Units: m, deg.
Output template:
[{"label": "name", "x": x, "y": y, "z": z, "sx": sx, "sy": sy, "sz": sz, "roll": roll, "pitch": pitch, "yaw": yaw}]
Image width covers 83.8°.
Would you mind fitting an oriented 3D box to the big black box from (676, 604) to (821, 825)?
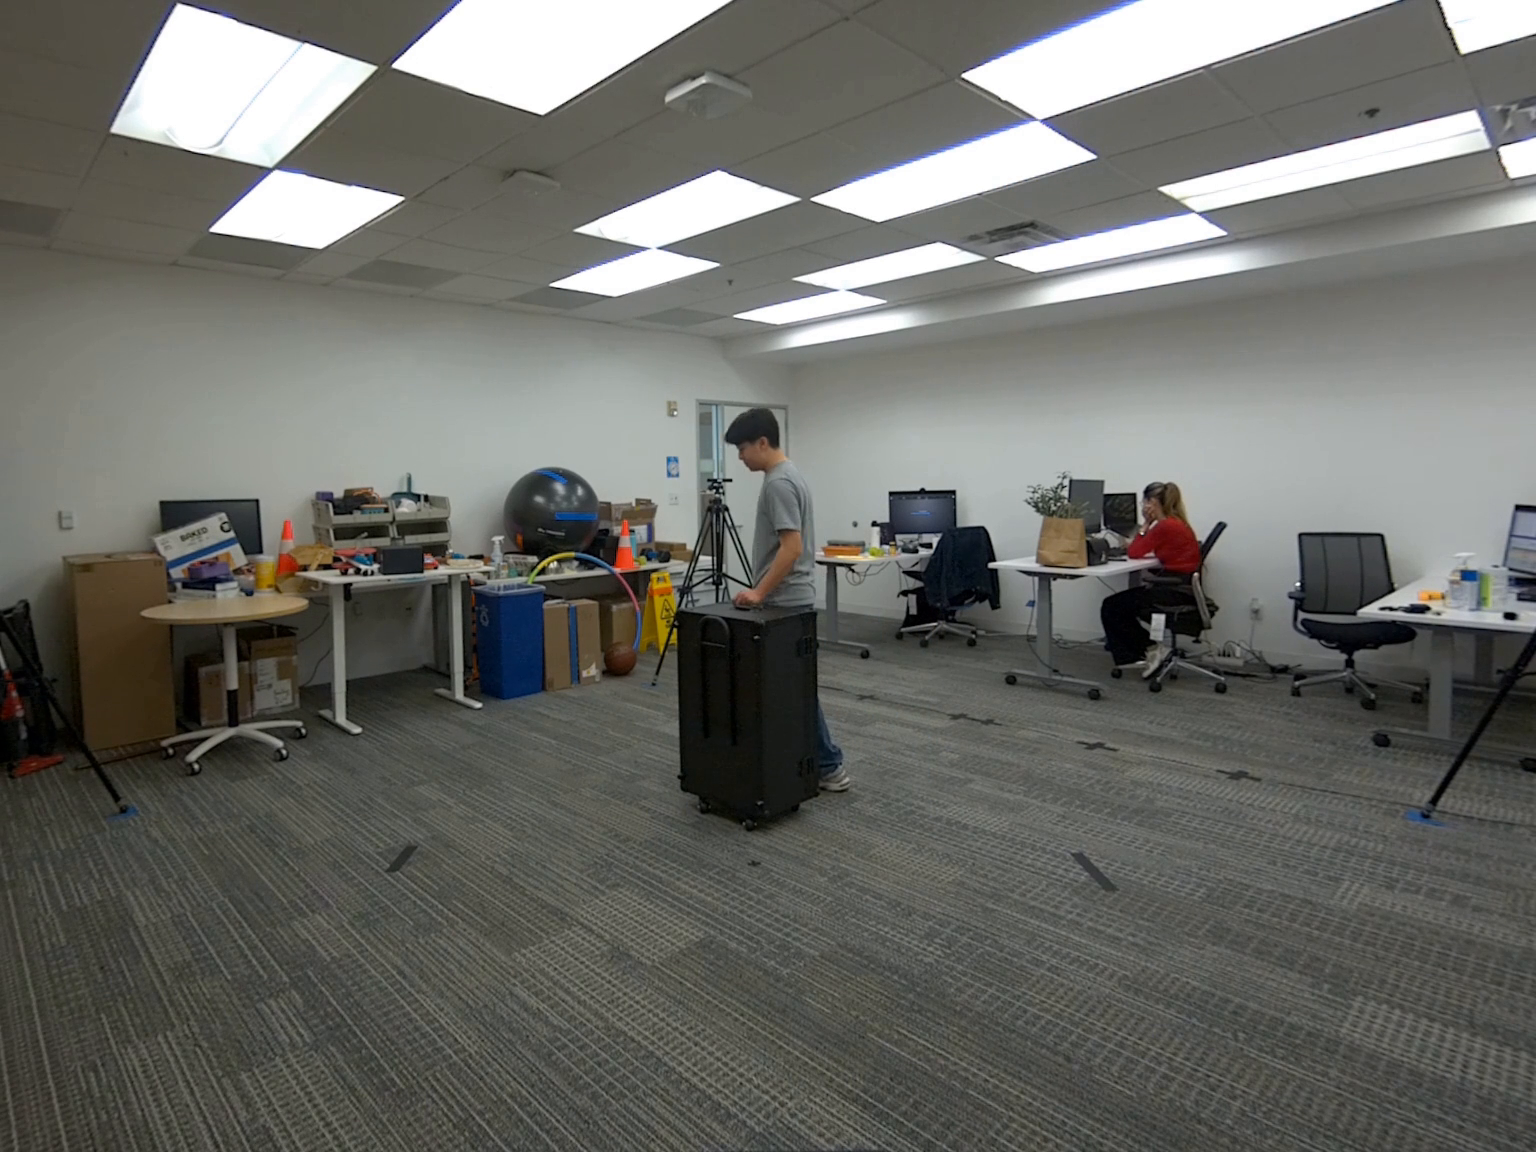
[{"label": "big black box", "x": -0.093, "y": 0.567, "z": 3.581, "sx": 0.537, "sy": 0.858, "sz": 0.386, "roll": 3, "pitch": 6, "yaw": 43}]
